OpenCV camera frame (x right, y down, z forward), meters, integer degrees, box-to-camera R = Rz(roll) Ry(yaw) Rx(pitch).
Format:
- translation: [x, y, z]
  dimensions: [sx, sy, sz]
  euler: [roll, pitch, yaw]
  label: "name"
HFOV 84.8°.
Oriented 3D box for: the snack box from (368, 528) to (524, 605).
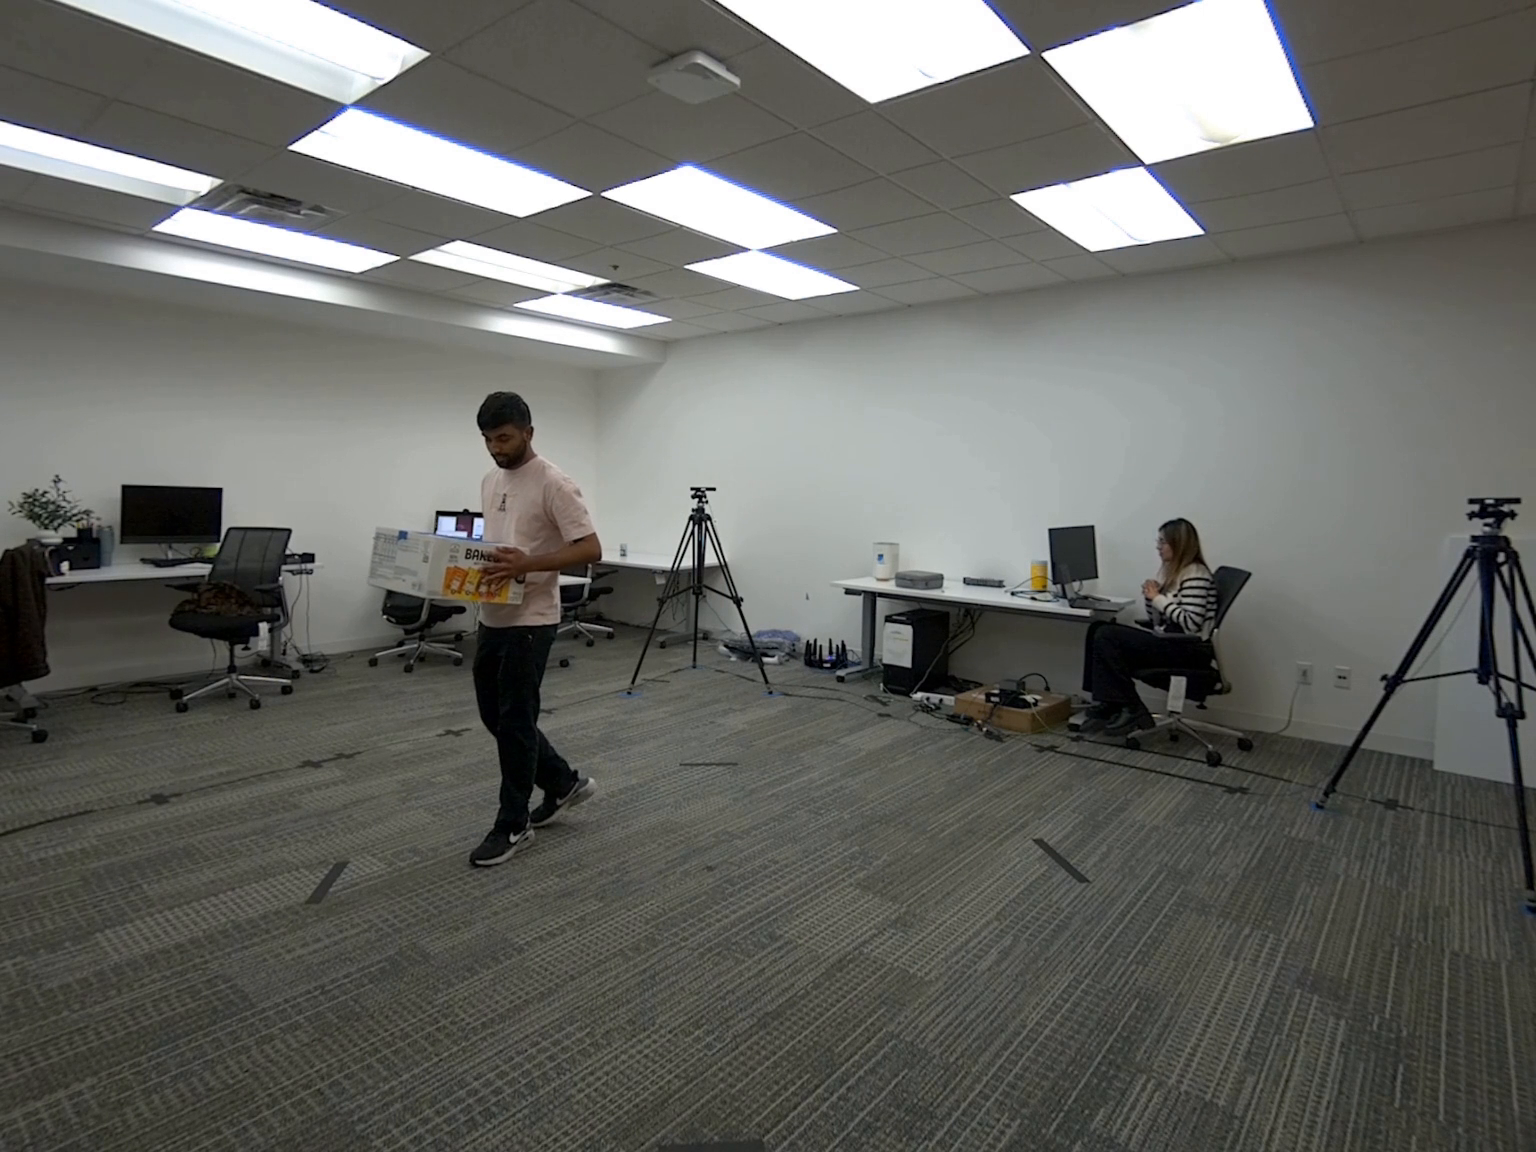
- translation: [-1.126, -0.036, 2.967]
  dimensions: [0.352, 0.206, 0.391]
  euler: [8, 0, 34]
  label: "snack box"
